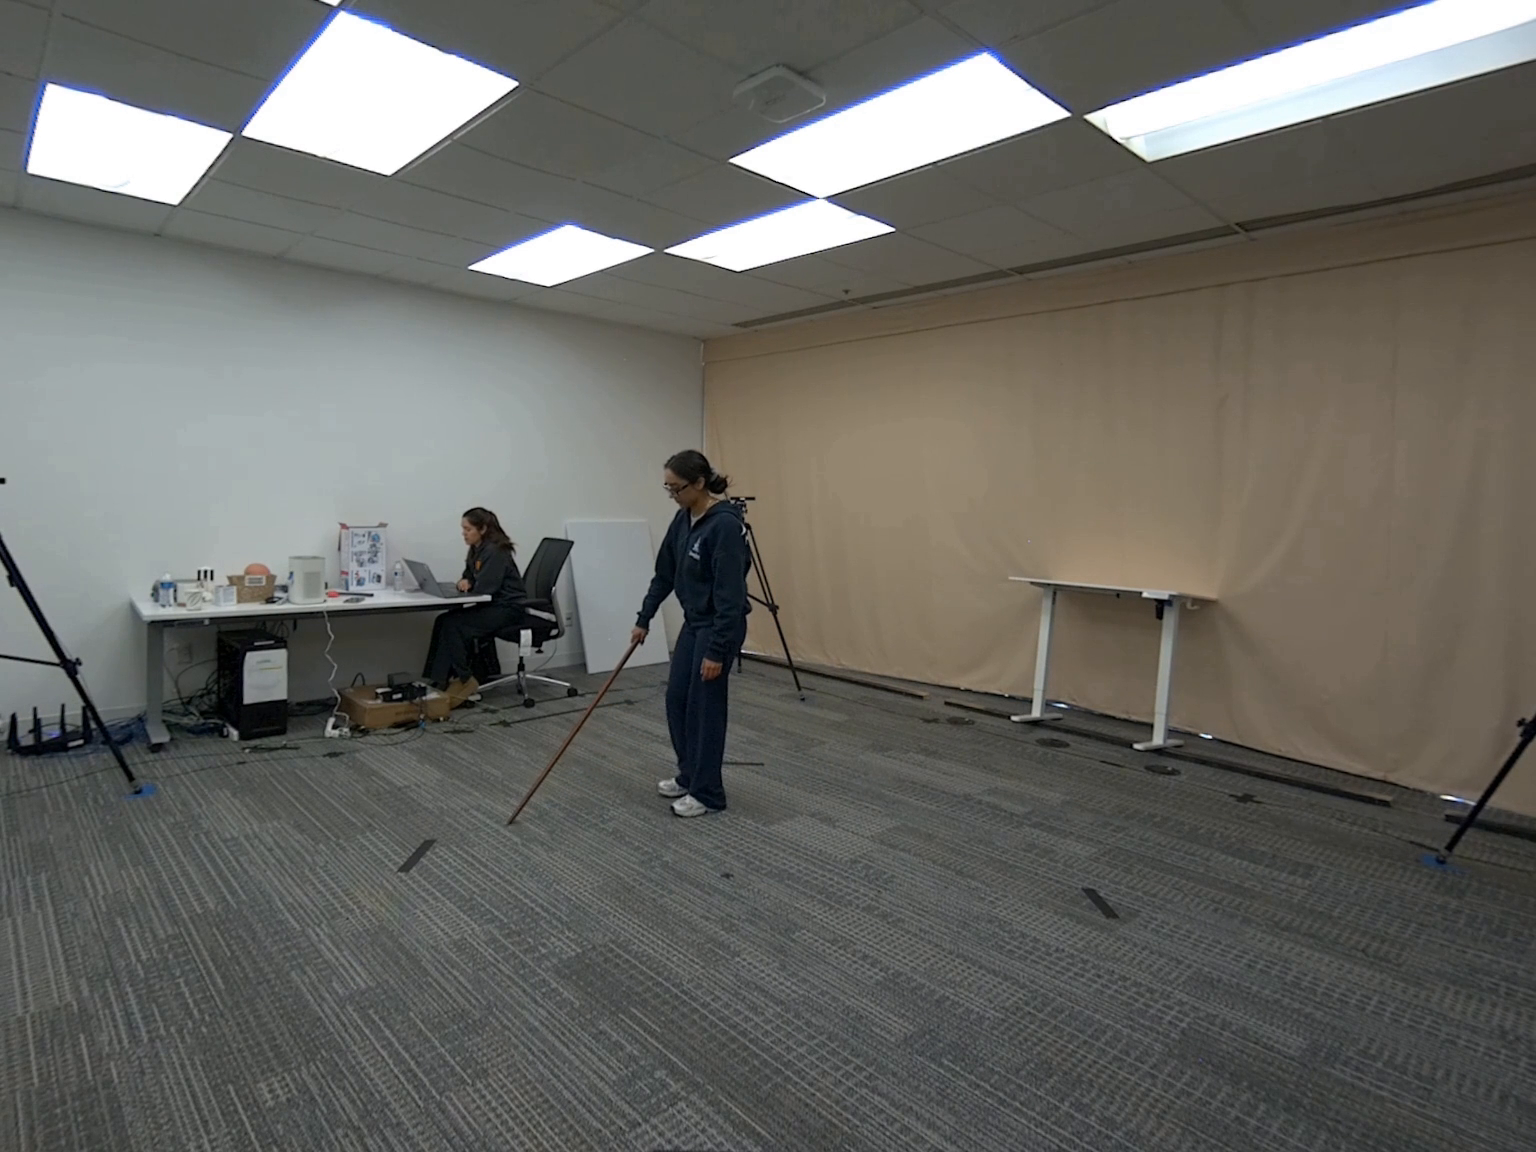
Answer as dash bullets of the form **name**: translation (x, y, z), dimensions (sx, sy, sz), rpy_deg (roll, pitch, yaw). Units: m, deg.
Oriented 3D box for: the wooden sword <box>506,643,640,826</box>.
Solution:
- **wooden sword**: translation (-0.842, 0.653, 3.714), dimensions (0.025, 1.028, 0.050), rpy_deg (9, -31, 48)
